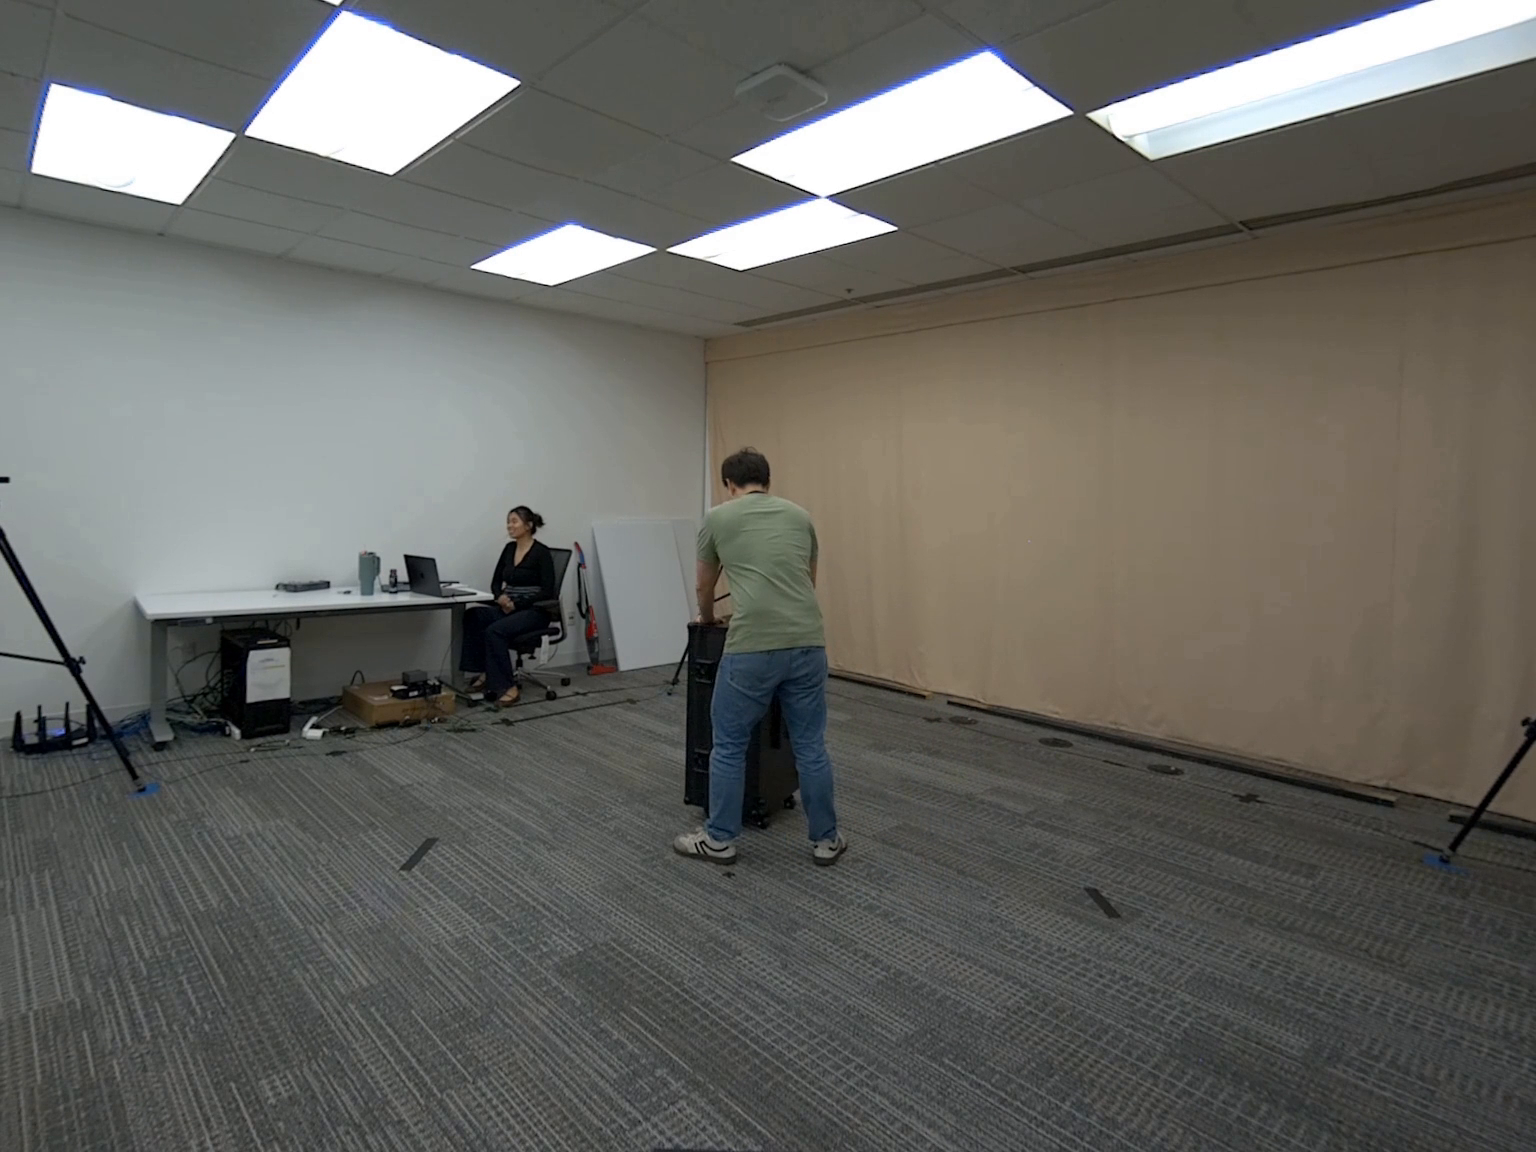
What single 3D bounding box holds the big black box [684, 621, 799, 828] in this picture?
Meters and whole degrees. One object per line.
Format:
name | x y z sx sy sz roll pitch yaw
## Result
big black box | -0.091 0.622 3.740 0.404 0.859 0.512 4 4 27
